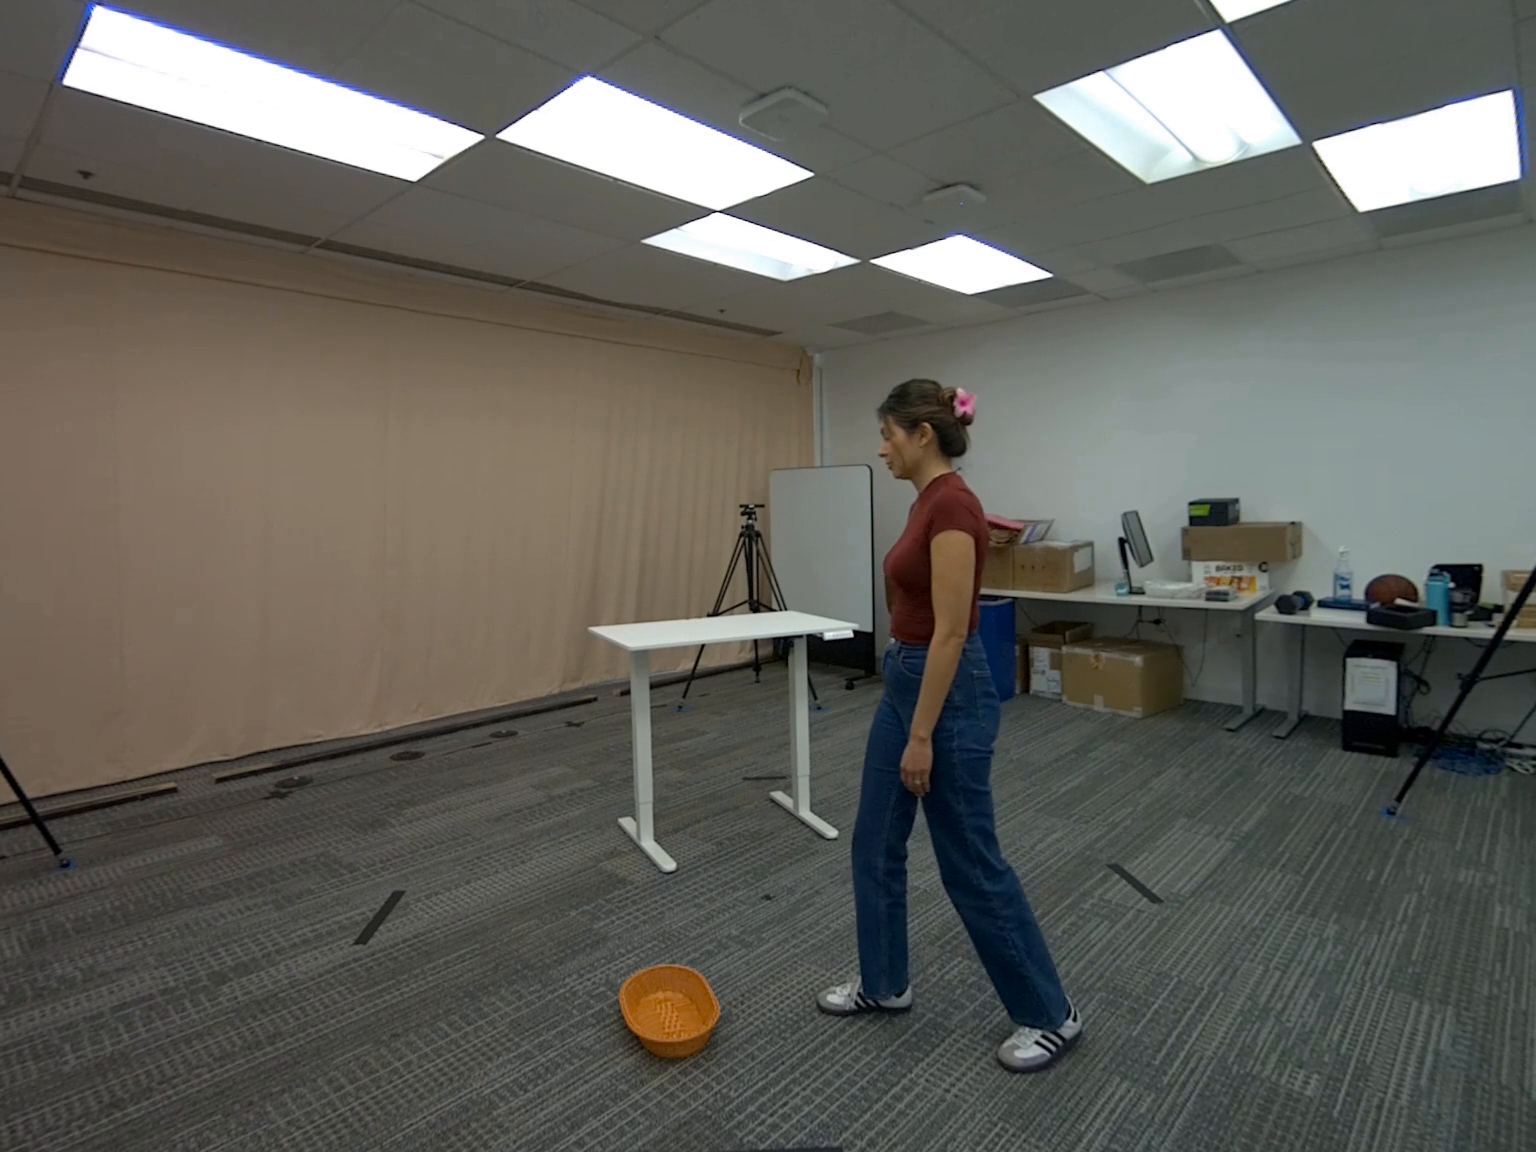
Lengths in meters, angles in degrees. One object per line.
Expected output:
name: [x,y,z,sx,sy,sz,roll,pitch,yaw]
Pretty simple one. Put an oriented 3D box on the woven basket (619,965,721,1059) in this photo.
woven basket: [-0.261,1.168,2.258,0.247,0.073,0.358,-3,5,-21]
